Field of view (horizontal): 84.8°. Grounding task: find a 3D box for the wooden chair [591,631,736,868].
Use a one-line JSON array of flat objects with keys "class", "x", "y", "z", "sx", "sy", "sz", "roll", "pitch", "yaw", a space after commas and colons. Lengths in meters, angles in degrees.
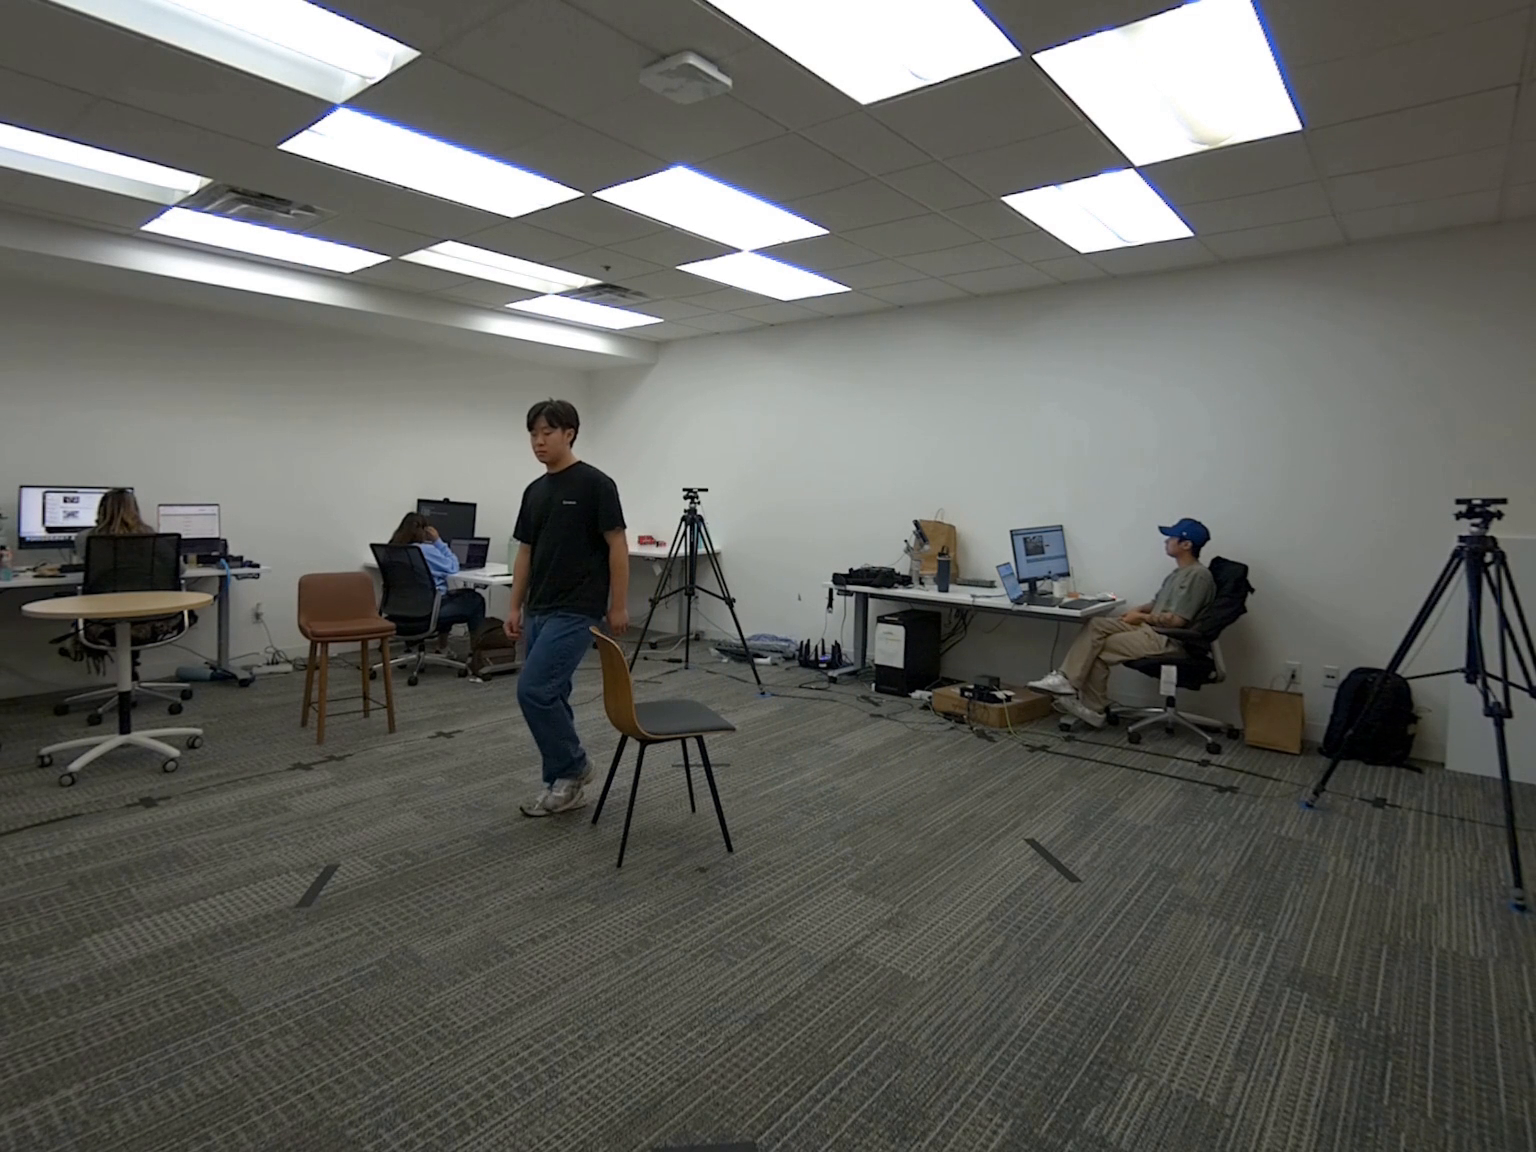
[{"class": "wooden chair", "x": -0.427, "y": 0.617, "z": 3.362, "sx": 0.512, "sy": 0.874, "sz": 0.490, "roll": -4, "pitch": 4, "yaw": -22}]
